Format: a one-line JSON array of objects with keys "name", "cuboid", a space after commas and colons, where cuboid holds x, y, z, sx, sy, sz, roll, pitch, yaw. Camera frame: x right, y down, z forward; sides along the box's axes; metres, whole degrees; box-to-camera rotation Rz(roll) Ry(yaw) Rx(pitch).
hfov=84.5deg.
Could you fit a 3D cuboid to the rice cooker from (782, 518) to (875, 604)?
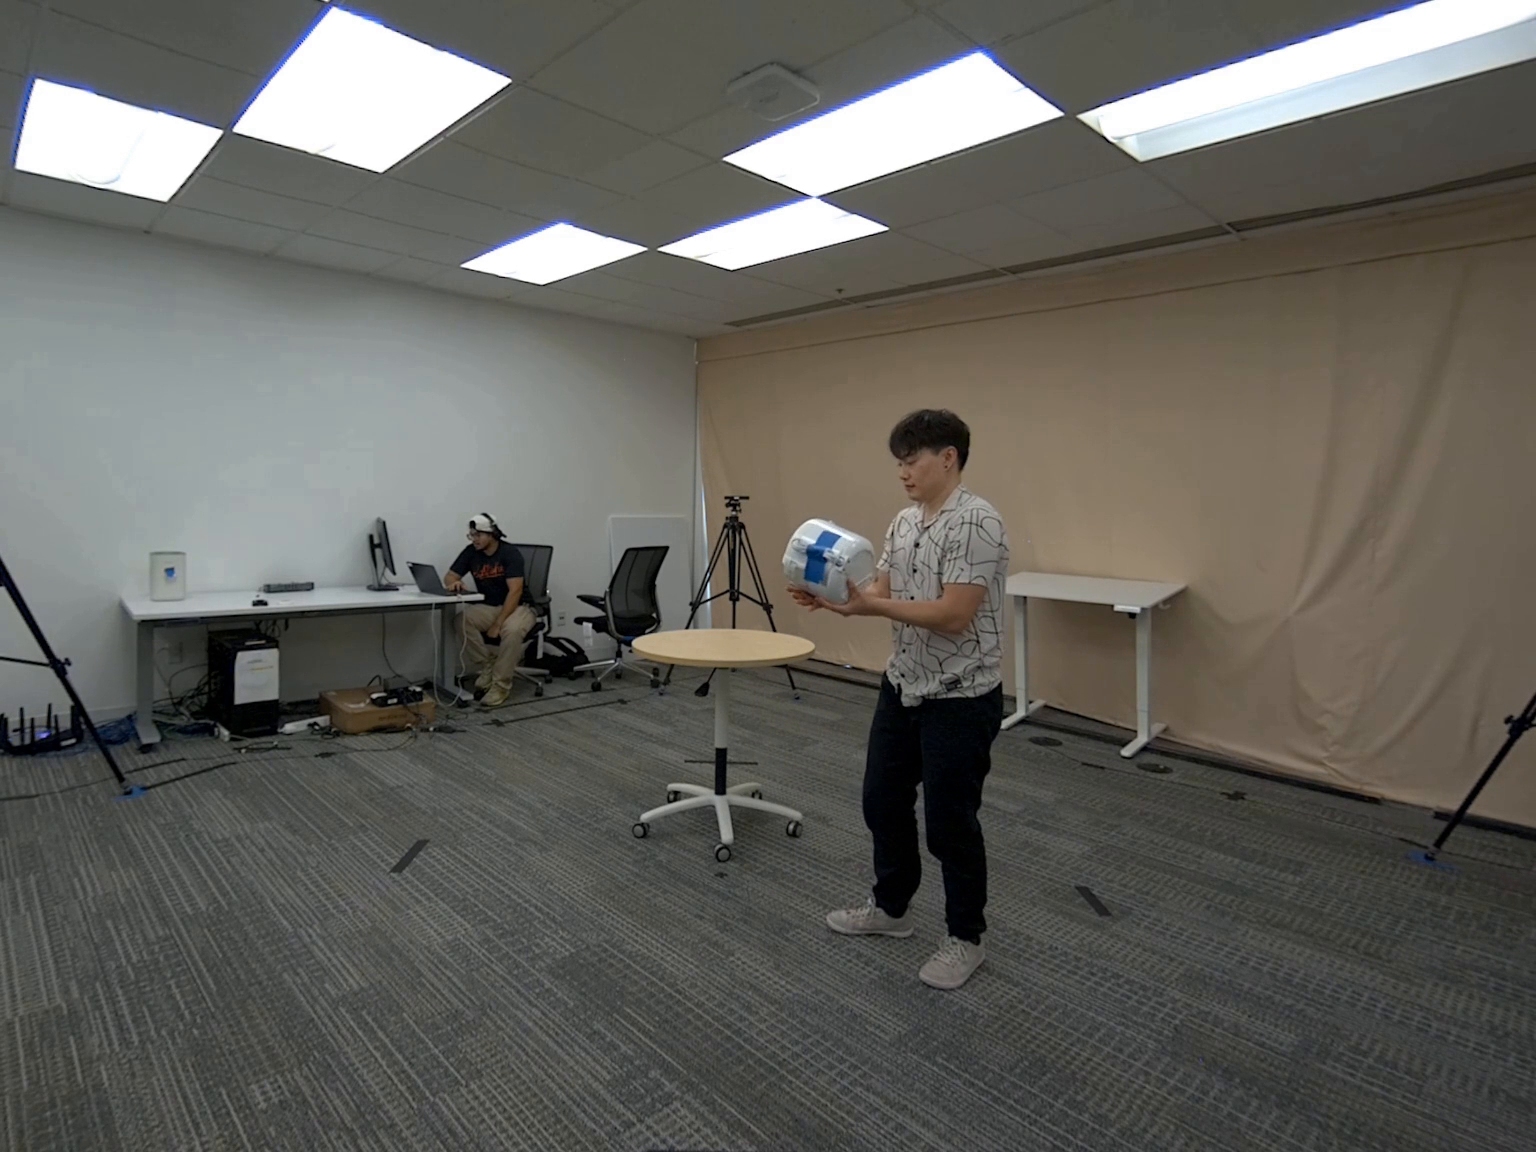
[{"name": "rice cooker", "cuboid": [0.158, -0.041, 2.413, 0.240, 0.213, 0.219, 29, 44, 35]}]
